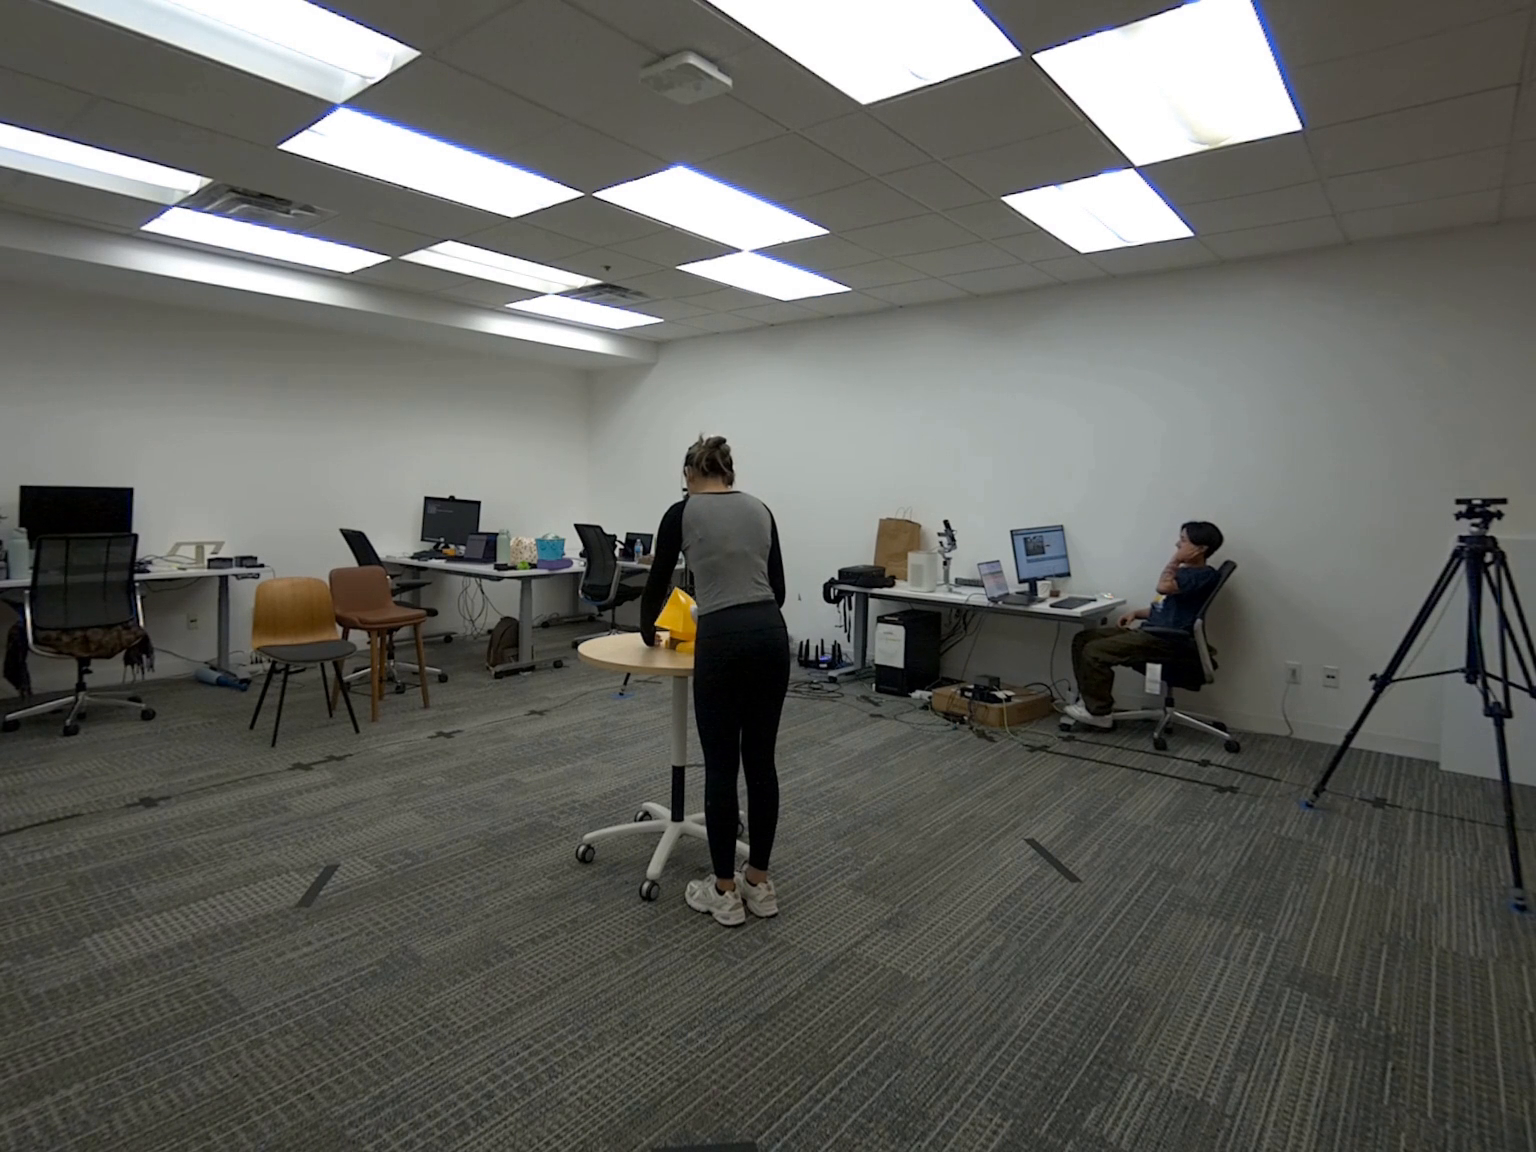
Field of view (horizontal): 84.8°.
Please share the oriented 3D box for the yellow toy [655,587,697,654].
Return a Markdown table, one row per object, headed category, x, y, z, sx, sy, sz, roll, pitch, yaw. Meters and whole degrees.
| category | x | y | z | sx | sy | sz | roll | pitch | yaw |
| --- | --- | --- | --- | --- | --- | --- | --- | --- | --- |
| yellow toy | -0.310 | 0.153 | 3.181 | 0.187 | 0.230 | 0.211 | -2 | 4 | -36 |
